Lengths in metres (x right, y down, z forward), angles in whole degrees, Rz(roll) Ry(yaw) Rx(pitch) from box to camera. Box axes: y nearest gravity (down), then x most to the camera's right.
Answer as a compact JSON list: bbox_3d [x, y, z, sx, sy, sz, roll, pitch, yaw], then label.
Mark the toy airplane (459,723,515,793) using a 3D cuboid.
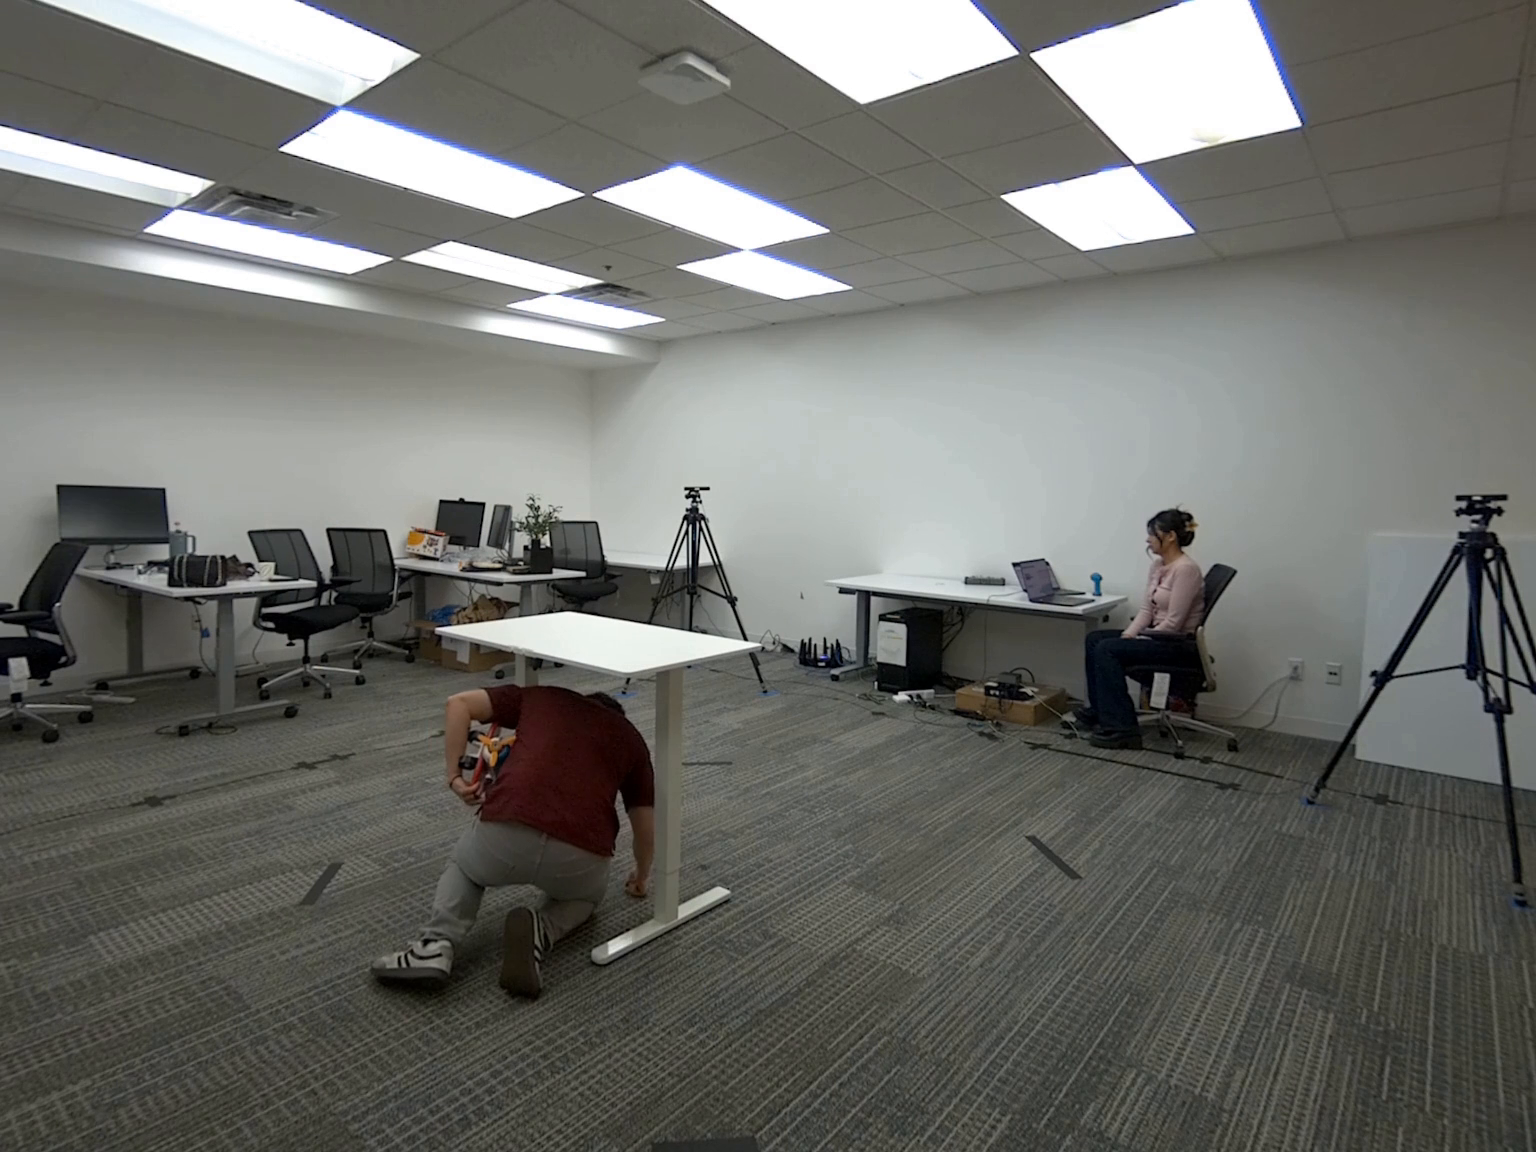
[{"bbox_3d":[-0.877,0.581,2.702,0.158,0.255,0.253,3,-16,7],"label":"toy airplane"}]
